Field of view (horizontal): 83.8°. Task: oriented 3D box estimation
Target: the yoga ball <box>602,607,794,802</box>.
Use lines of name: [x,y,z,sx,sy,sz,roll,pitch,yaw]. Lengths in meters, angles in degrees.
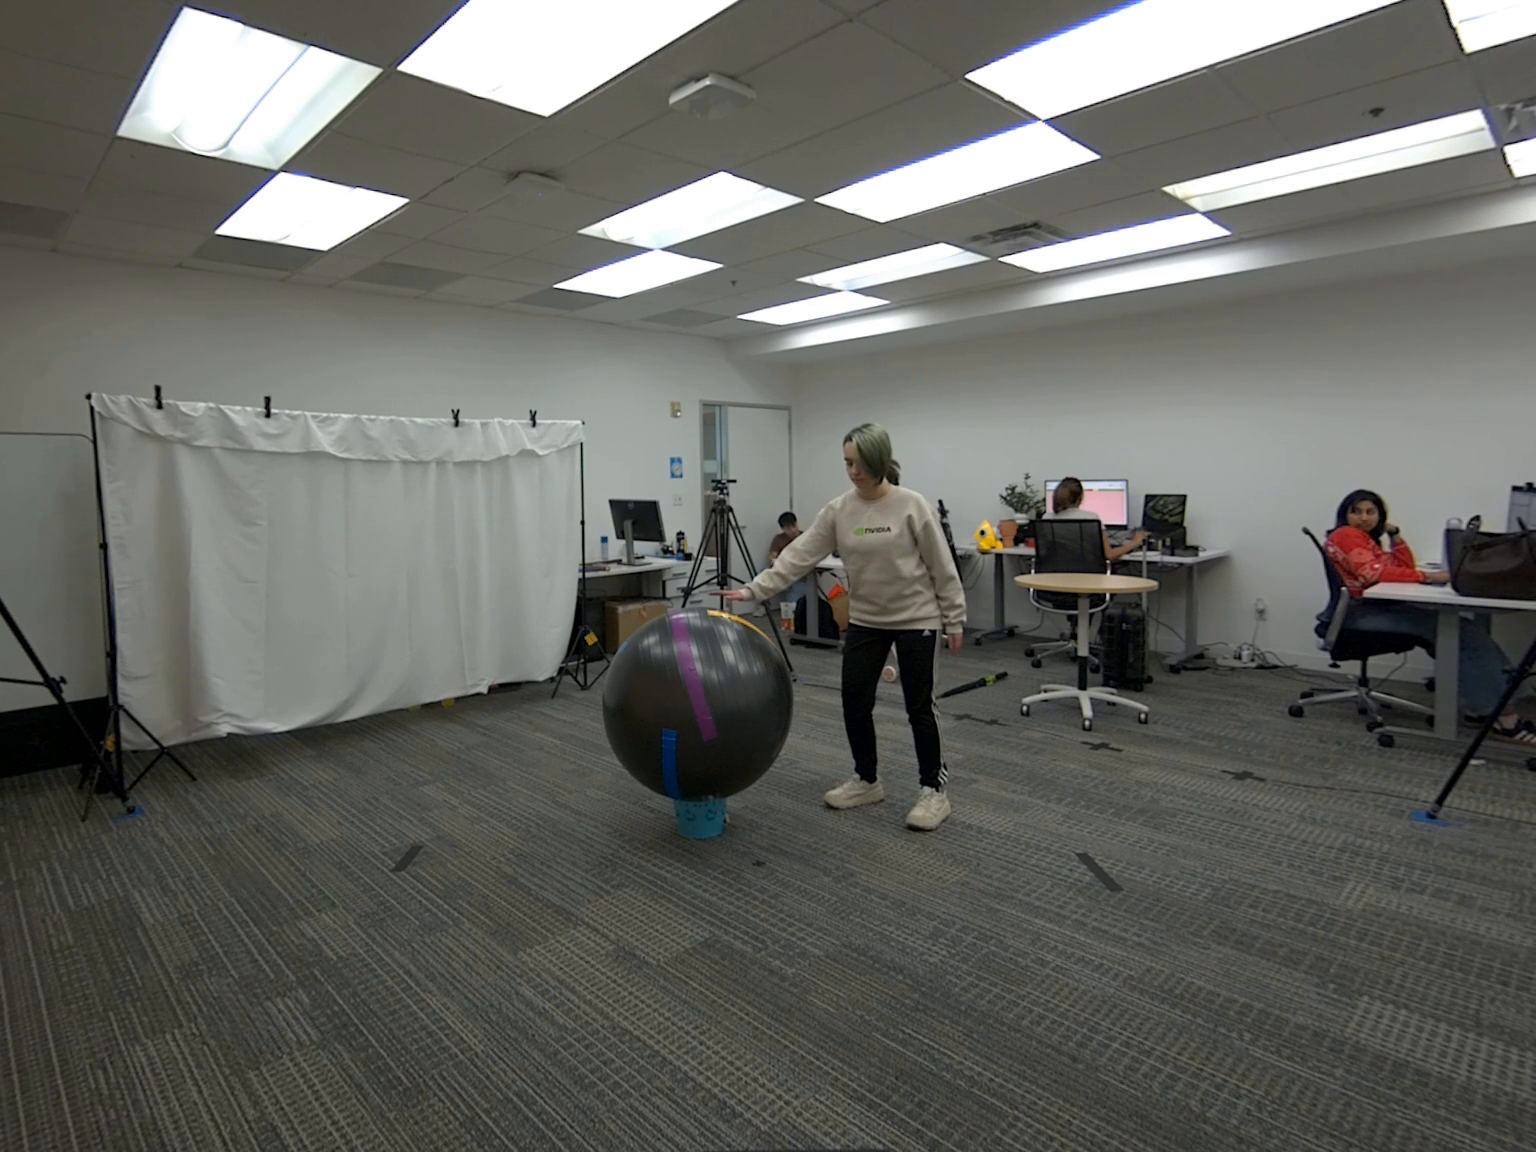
yoga ball: [-0.278,0.507,3.401,0.757,0.755,0.762,-1,5,-2]
